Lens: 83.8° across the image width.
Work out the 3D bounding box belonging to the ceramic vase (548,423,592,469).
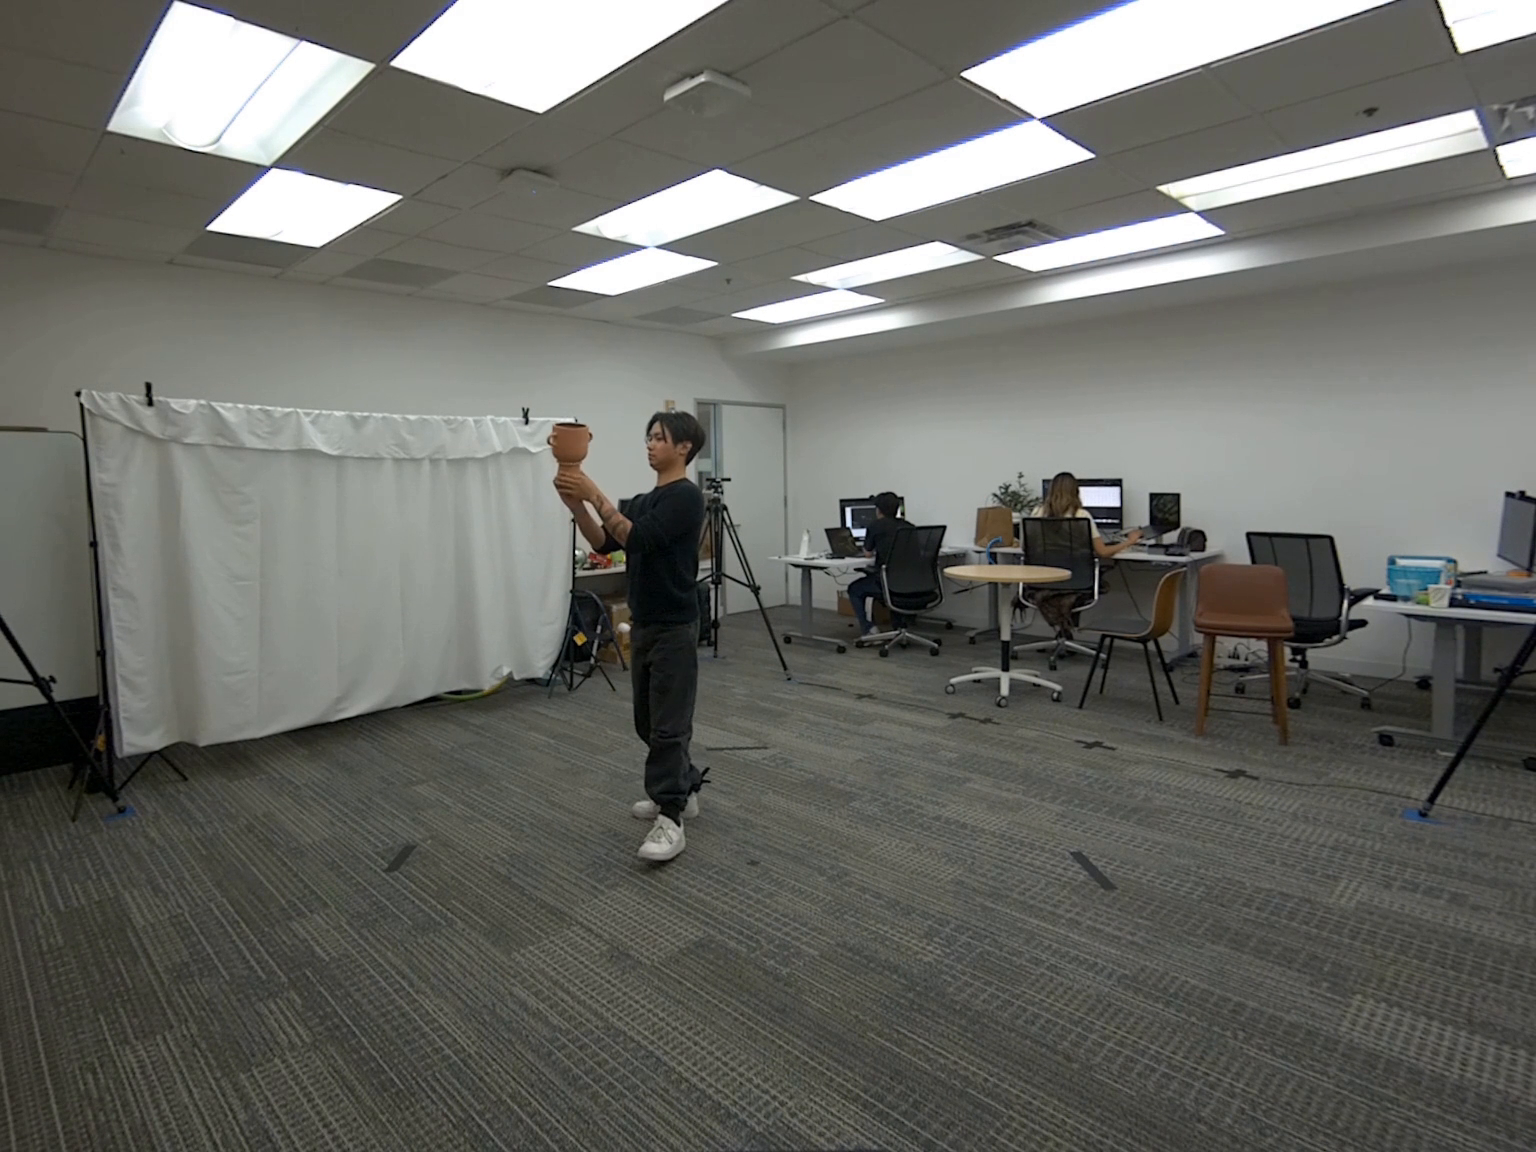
[{"bbox_3d":[-0.744,-0.459,3.198,0.158,0.217,0.137,3,18,-7],"label":"ceramic vase"}]
